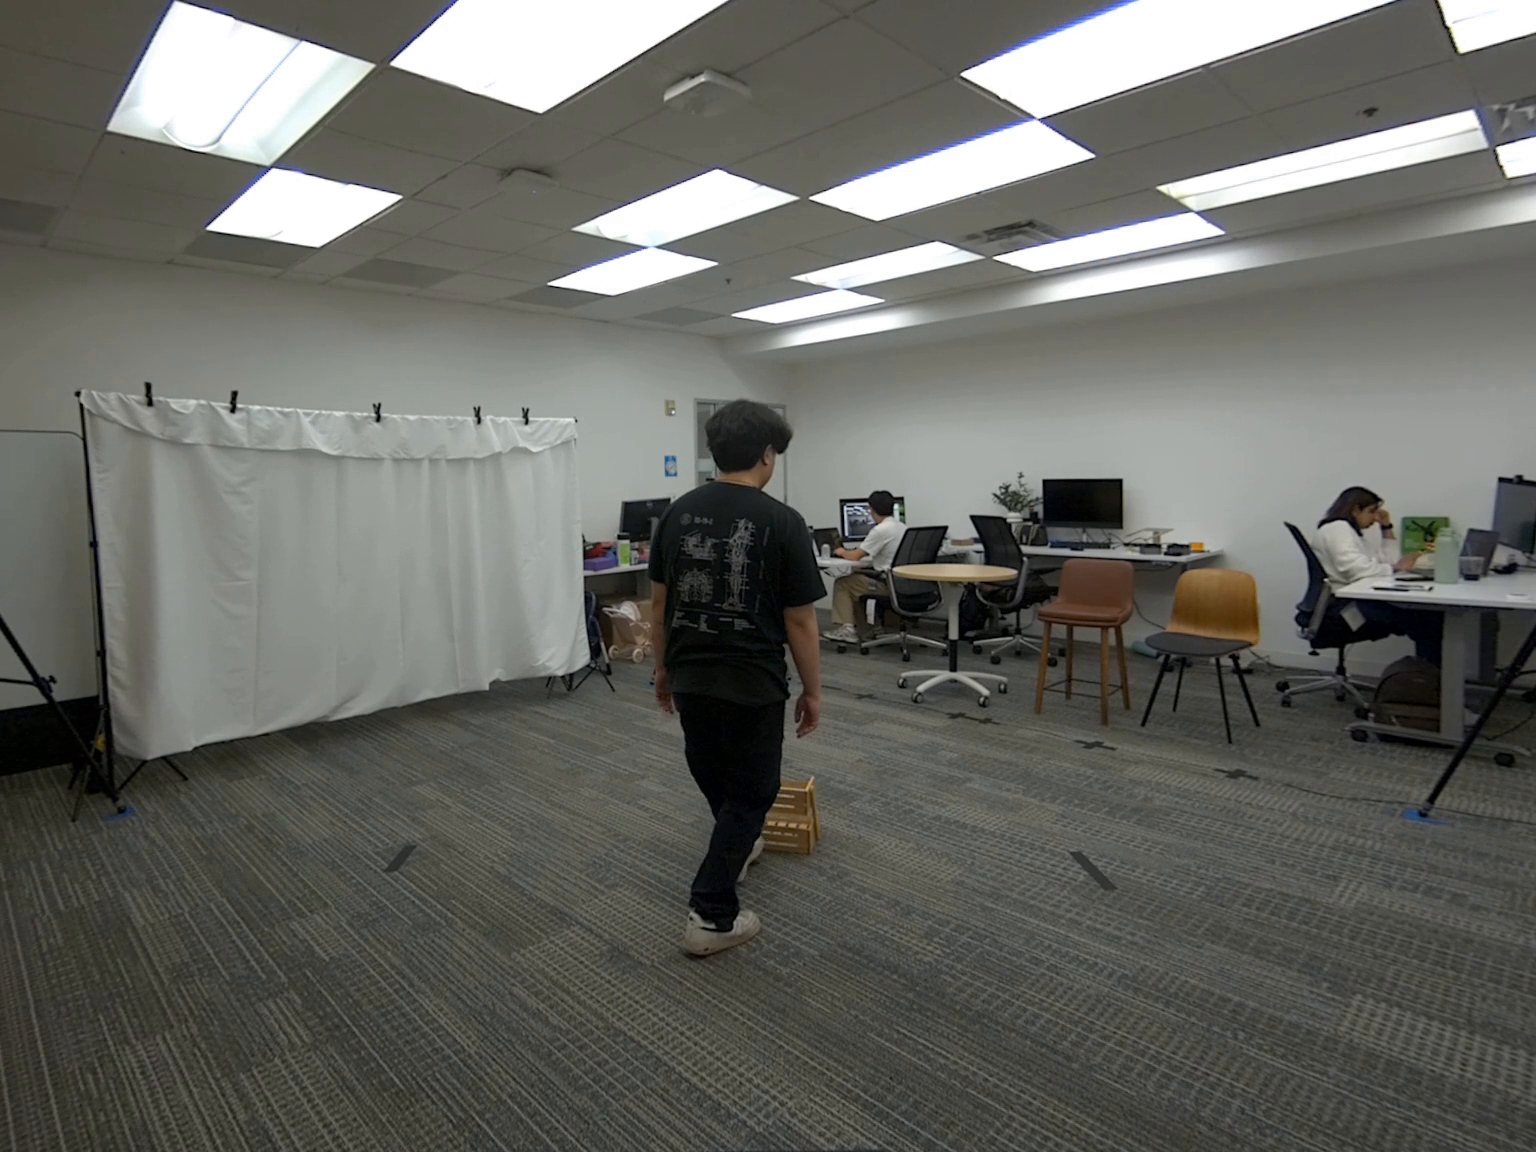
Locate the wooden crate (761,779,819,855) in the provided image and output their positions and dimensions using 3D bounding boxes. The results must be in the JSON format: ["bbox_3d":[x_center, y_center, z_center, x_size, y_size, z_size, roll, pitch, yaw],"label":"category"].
[{"bbox_3d":[0.036,0.888,3.301,0.329,0.272,0.299,0,5,14],"label":"wooden crate"}]
